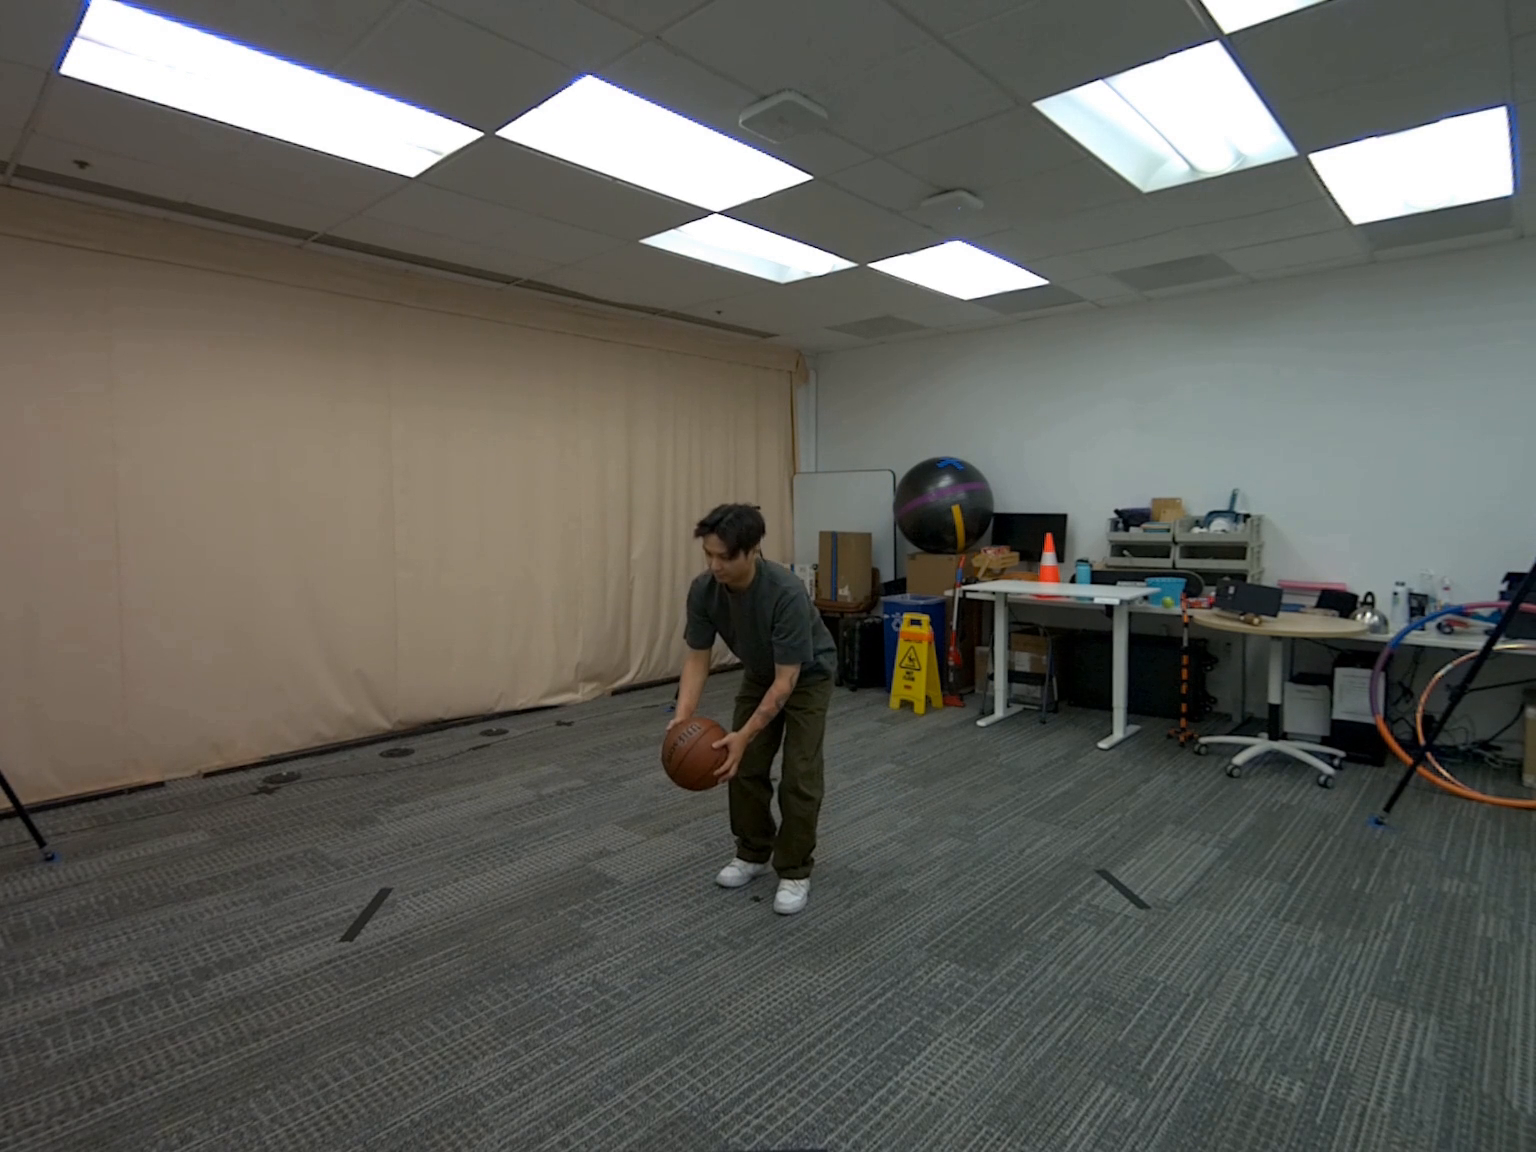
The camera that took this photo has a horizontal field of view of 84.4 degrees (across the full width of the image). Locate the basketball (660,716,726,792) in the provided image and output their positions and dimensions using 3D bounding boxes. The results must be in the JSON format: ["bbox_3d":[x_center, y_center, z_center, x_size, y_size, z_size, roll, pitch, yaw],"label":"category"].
[{"bbox_3d":[-0.231,0.583,2.772,0.236,0.235,0.237,0,4,-2],"label":"basketball"}]
